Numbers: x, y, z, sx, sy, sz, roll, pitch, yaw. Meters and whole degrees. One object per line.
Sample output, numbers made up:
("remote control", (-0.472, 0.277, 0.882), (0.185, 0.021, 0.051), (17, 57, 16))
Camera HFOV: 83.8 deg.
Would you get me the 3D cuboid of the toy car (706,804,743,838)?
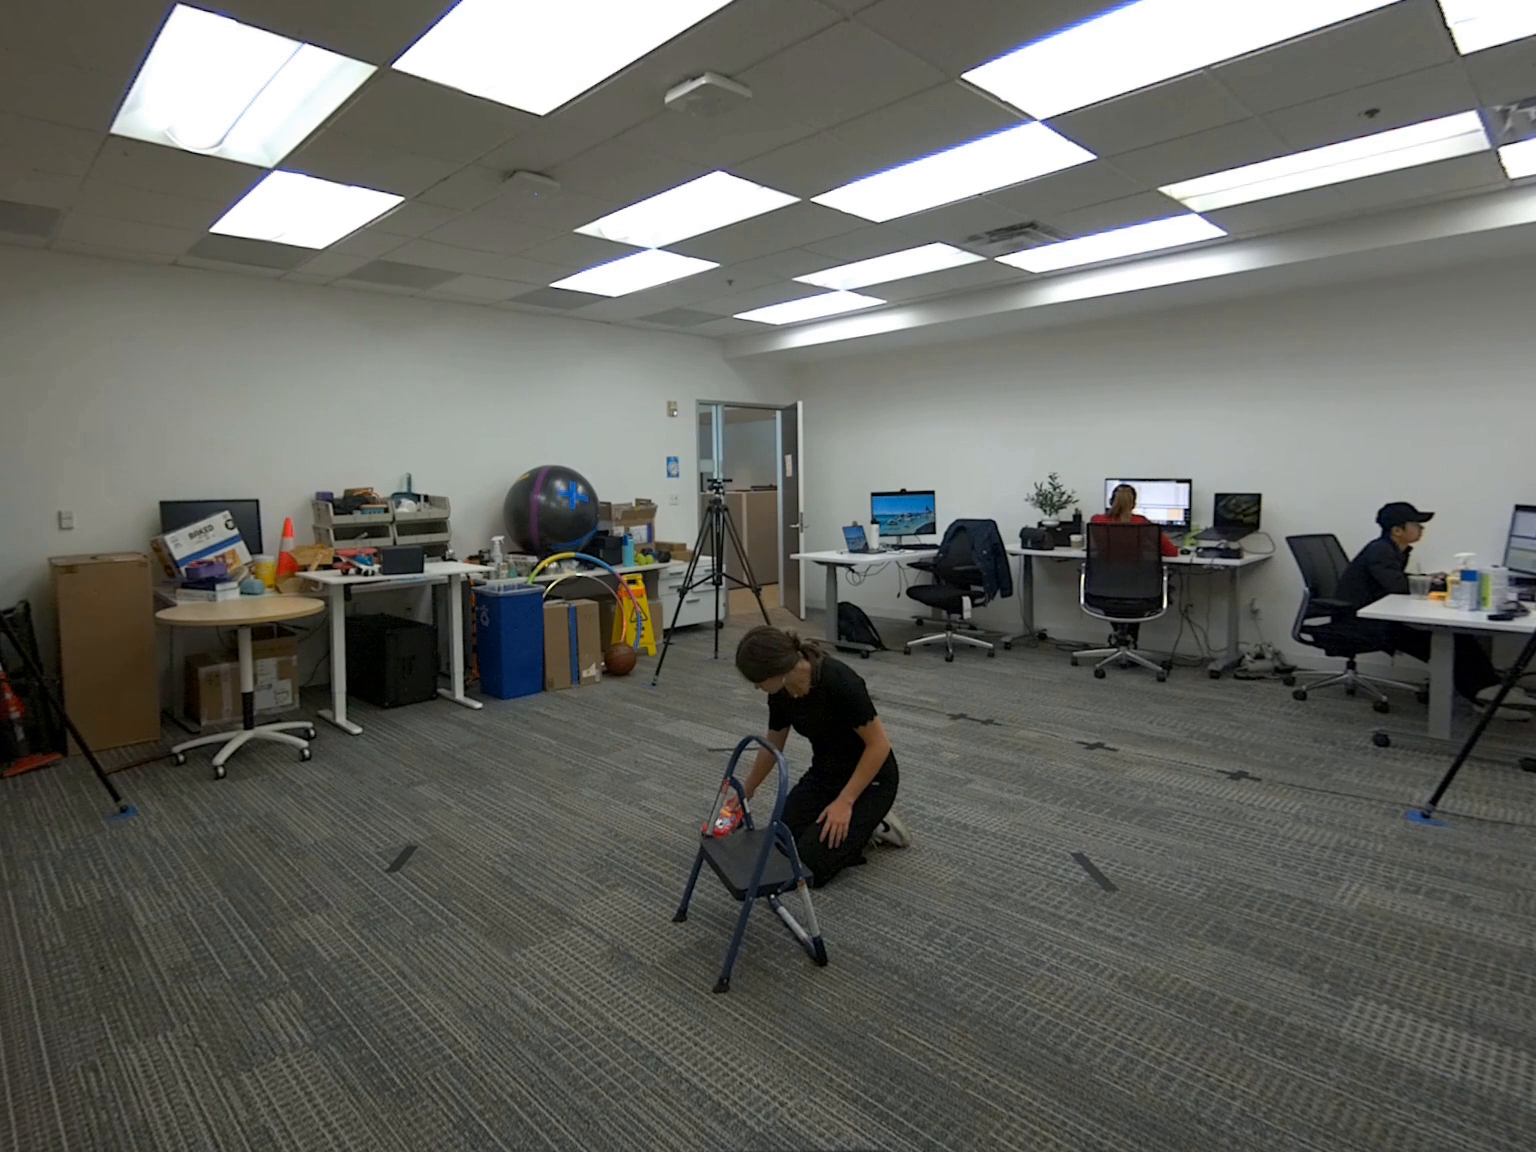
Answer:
("toy car", (-0.165, 0.986, 3.413), (0.132, 0.082, 0.253), (-3, 14, 18))
